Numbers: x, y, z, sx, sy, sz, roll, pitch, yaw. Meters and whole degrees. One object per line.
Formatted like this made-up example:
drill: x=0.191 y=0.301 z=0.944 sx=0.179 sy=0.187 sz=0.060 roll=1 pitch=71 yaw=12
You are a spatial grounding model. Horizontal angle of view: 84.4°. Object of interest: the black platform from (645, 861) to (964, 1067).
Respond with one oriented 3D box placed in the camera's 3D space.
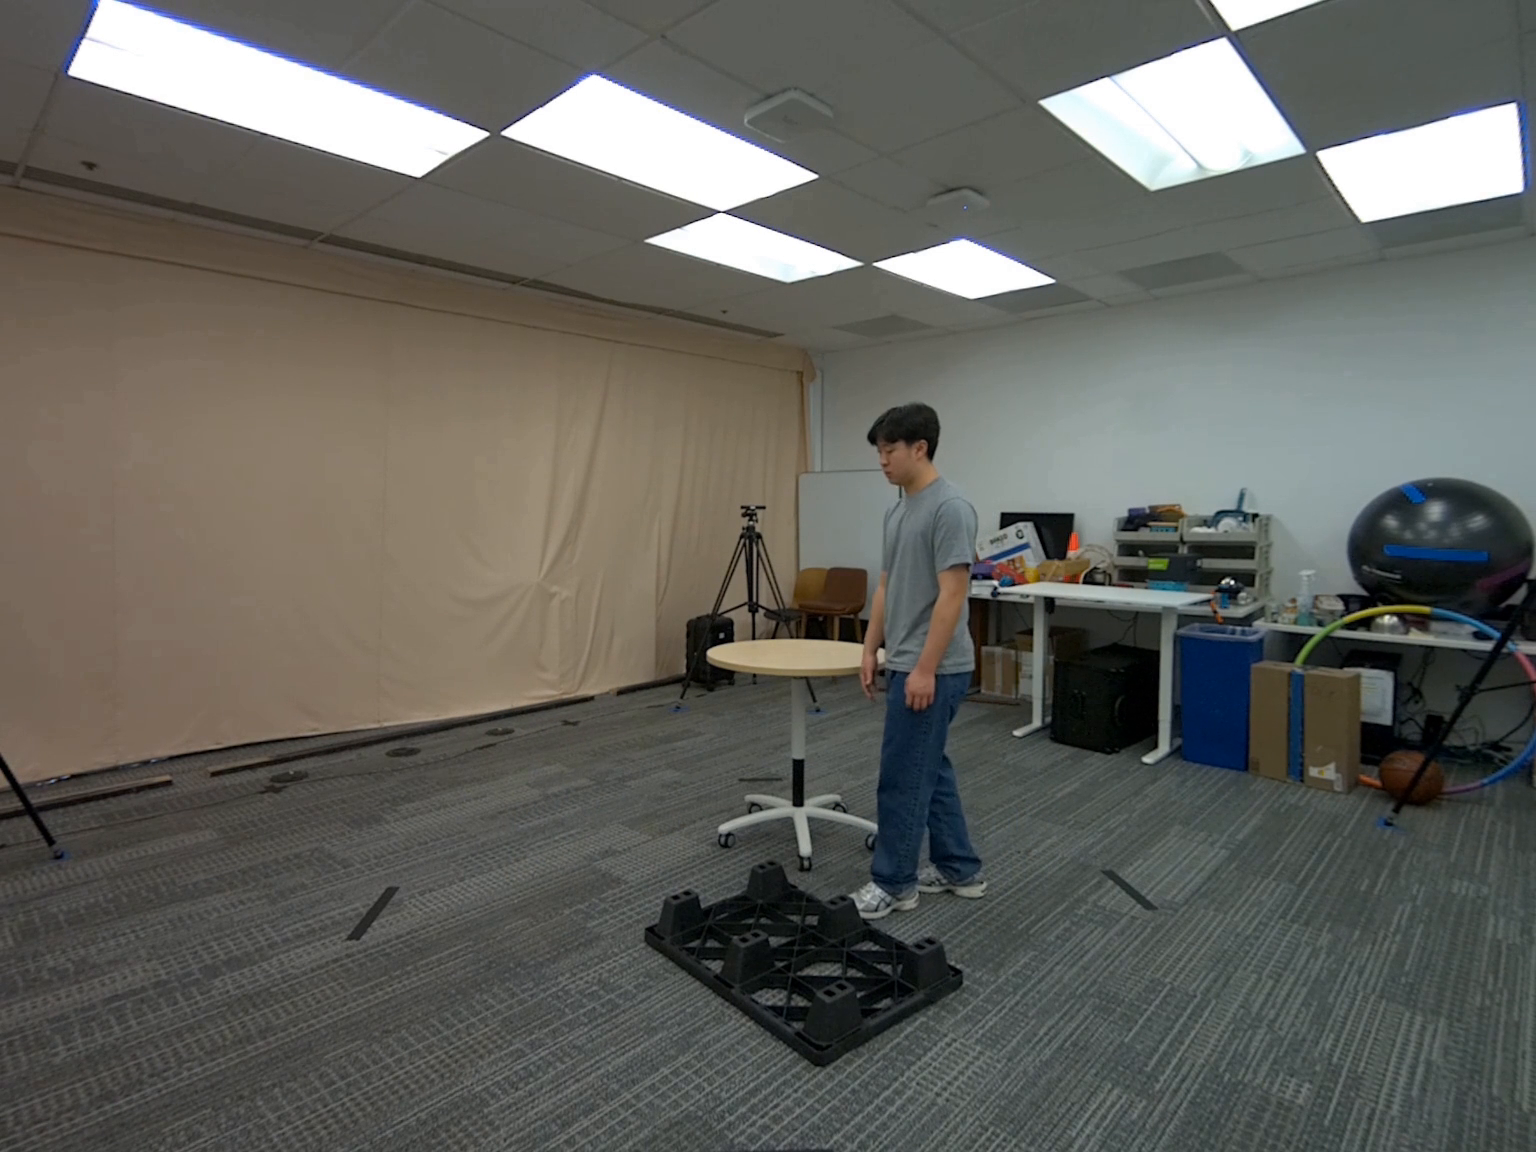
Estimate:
black platform: x=0.092 y=1.114 z=2.566 sx=0.587 sy=0.143 sz=0.832 roll=-5 pitch=7 yaw=-40
